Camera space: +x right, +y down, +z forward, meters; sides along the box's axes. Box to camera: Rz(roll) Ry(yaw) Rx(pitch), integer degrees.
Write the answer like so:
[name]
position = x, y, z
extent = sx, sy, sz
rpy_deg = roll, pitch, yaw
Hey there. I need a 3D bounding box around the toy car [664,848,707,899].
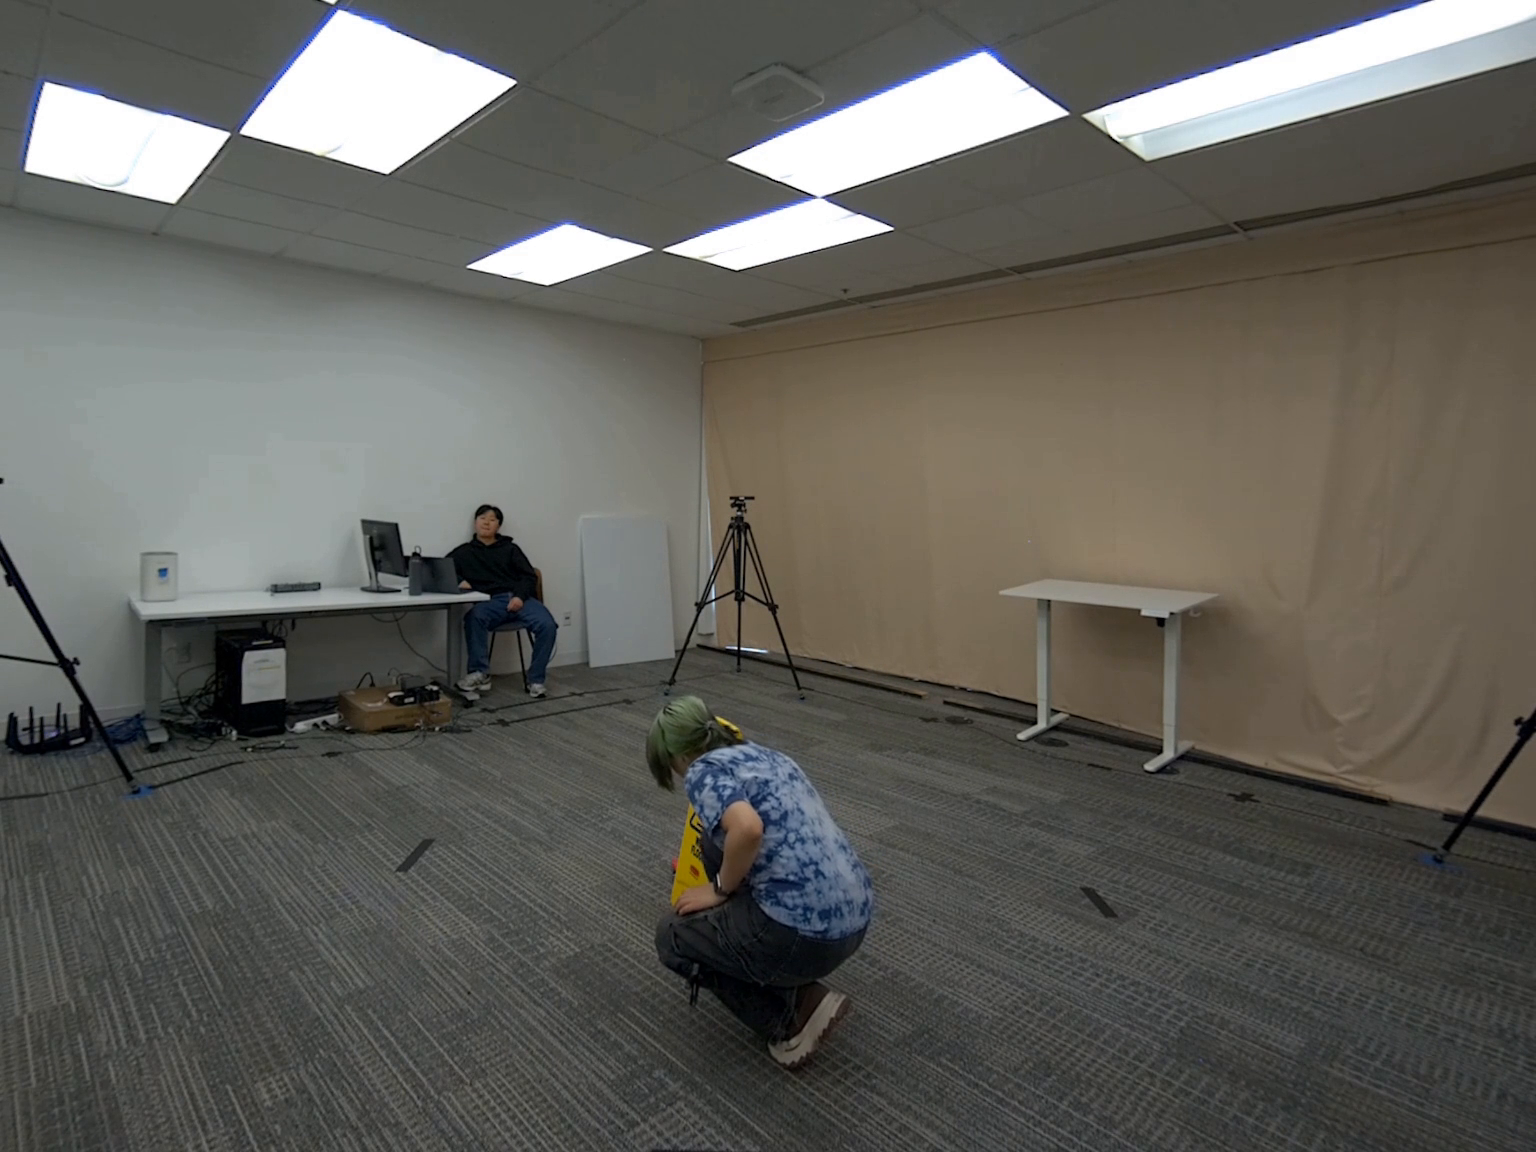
[toy car]
position = -0.264, 1.087, 3.002
extent = 0.128, 0.082, 0.262
rpy_deg = 0, 19, -26
